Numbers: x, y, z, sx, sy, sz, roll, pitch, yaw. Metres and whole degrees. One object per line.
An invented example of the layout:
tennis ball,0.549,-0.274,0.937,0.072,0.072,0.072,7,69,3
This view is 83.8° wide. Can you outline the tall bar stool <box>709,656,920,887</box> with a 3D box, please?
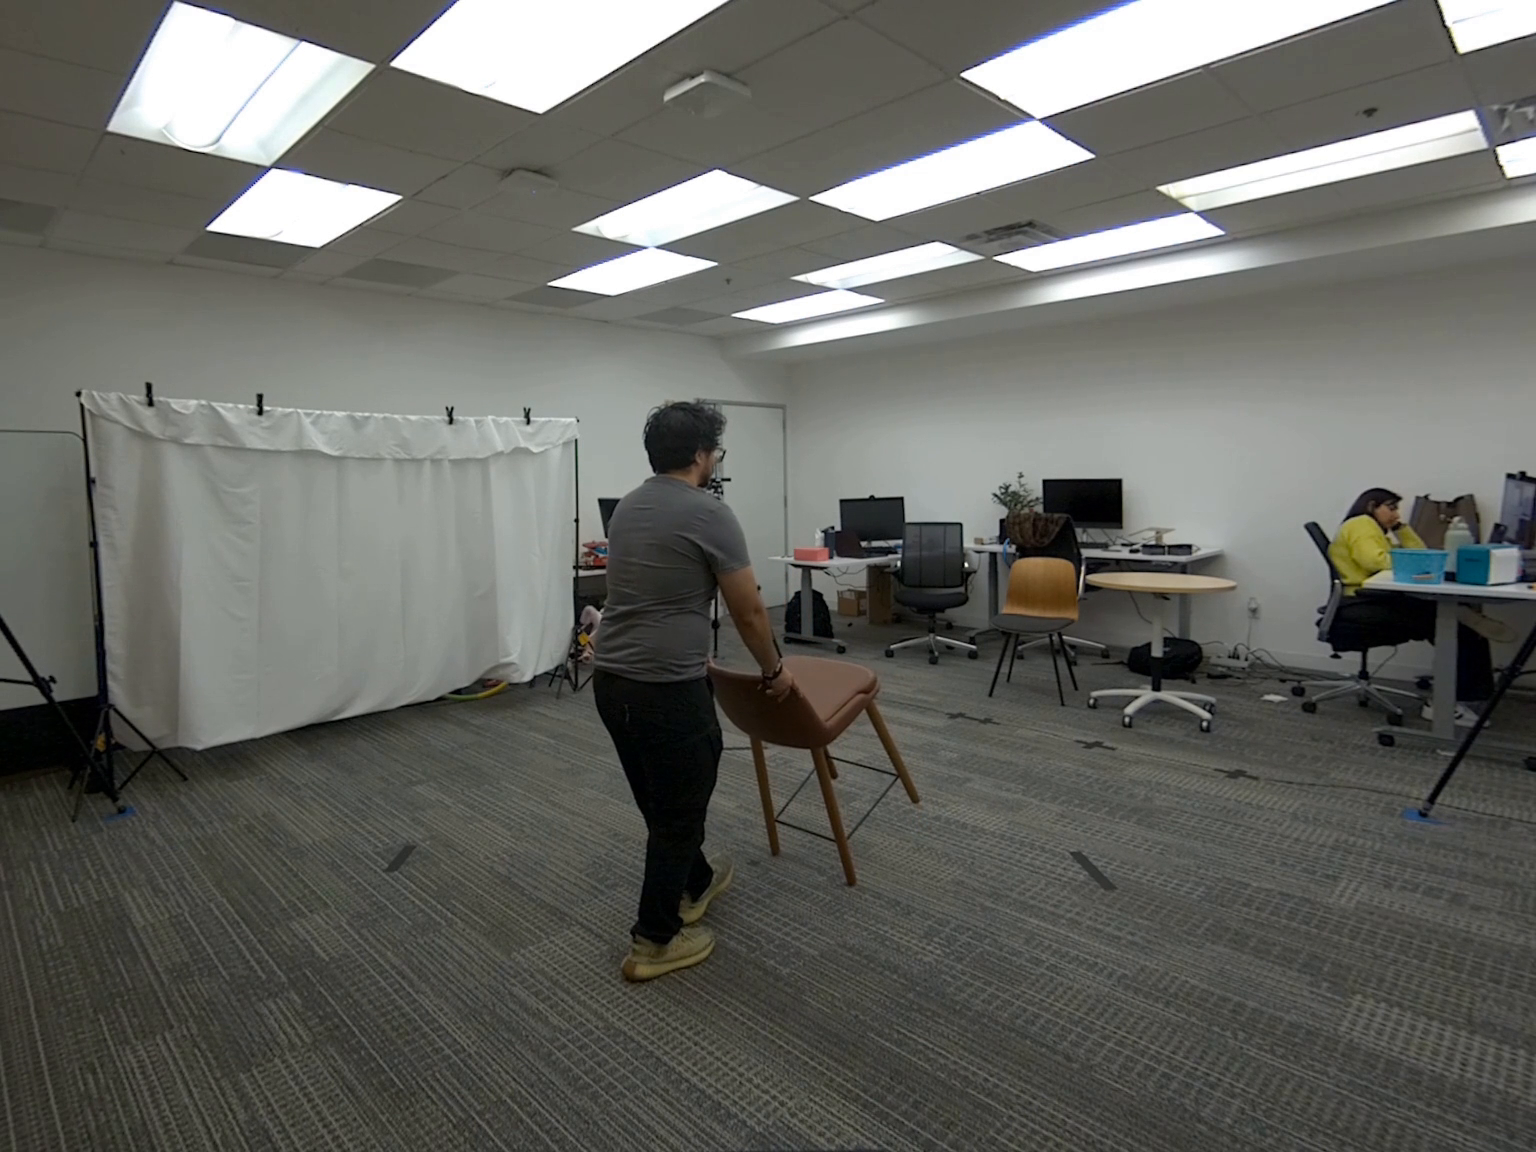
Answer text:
tall bar stool,0.152,0.563,3.021,0.471,0.867,0.465,4,33,44
